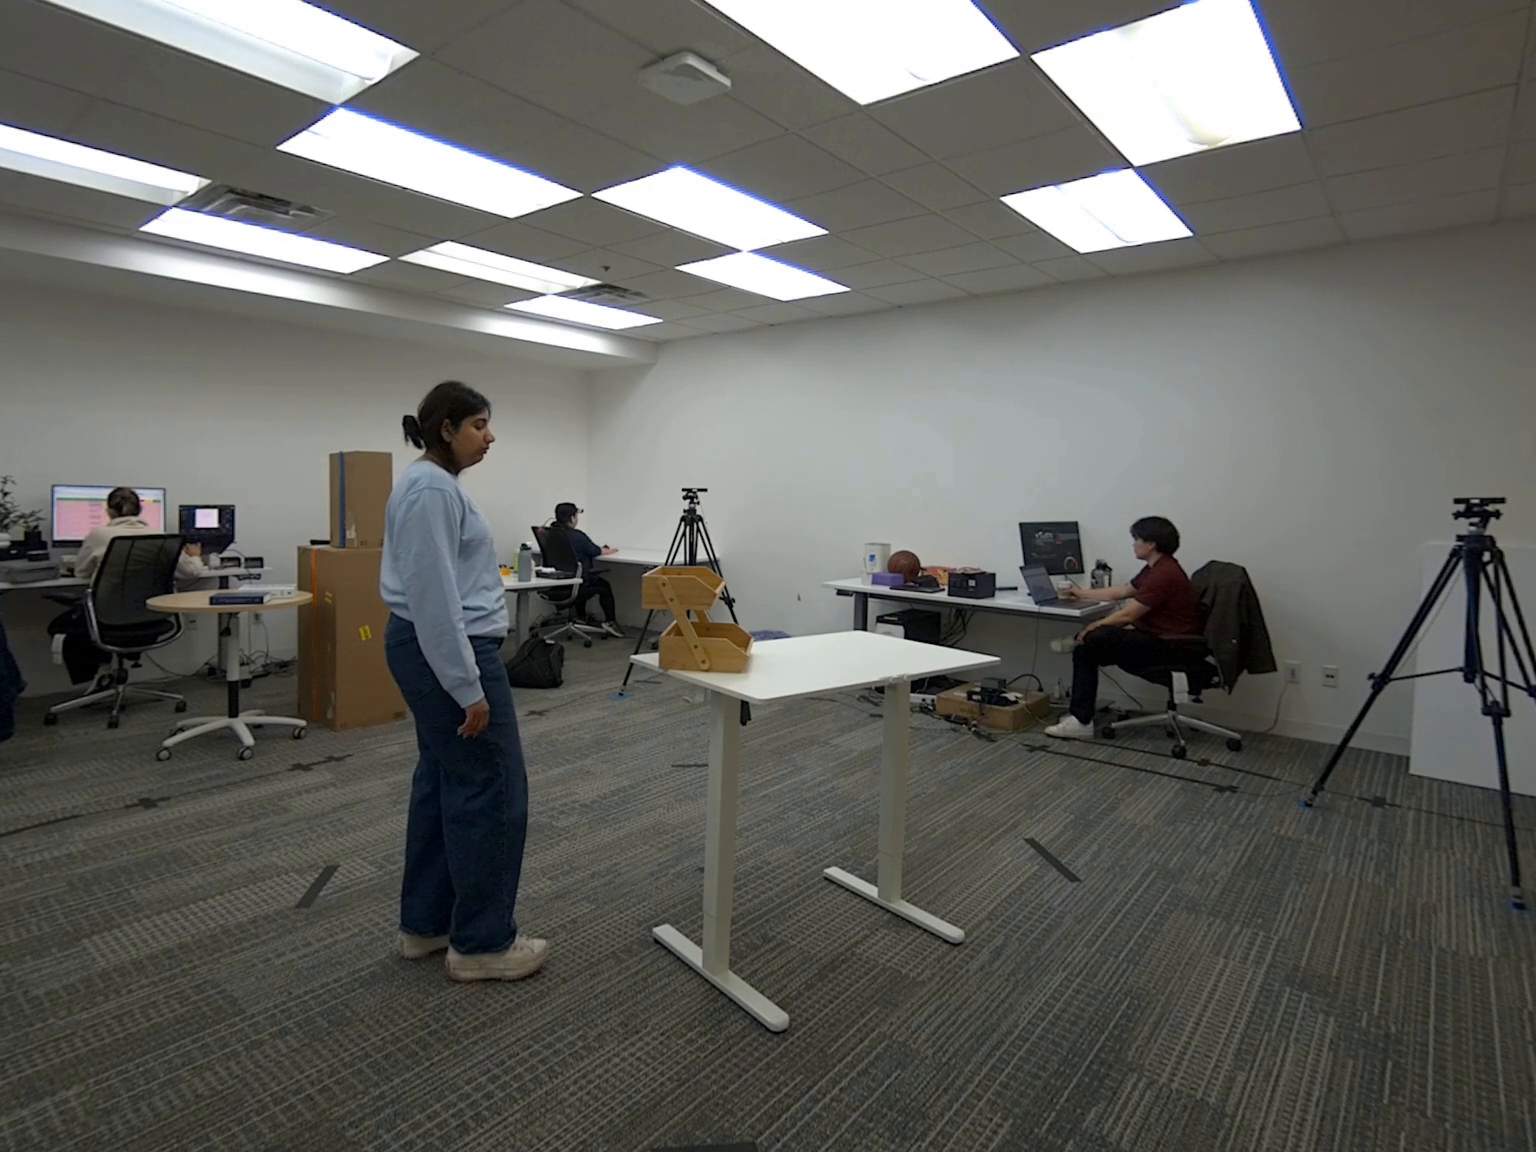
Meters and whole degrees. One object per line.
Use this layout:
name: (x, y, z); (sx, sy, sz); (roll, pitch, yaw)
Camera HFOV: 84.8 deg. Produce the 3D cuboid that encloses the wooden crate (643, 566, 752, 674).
wooden crate: (-0.194, 0.116, 2.480); (0.303, 0.272, 0.325); (1, 5, 2)
